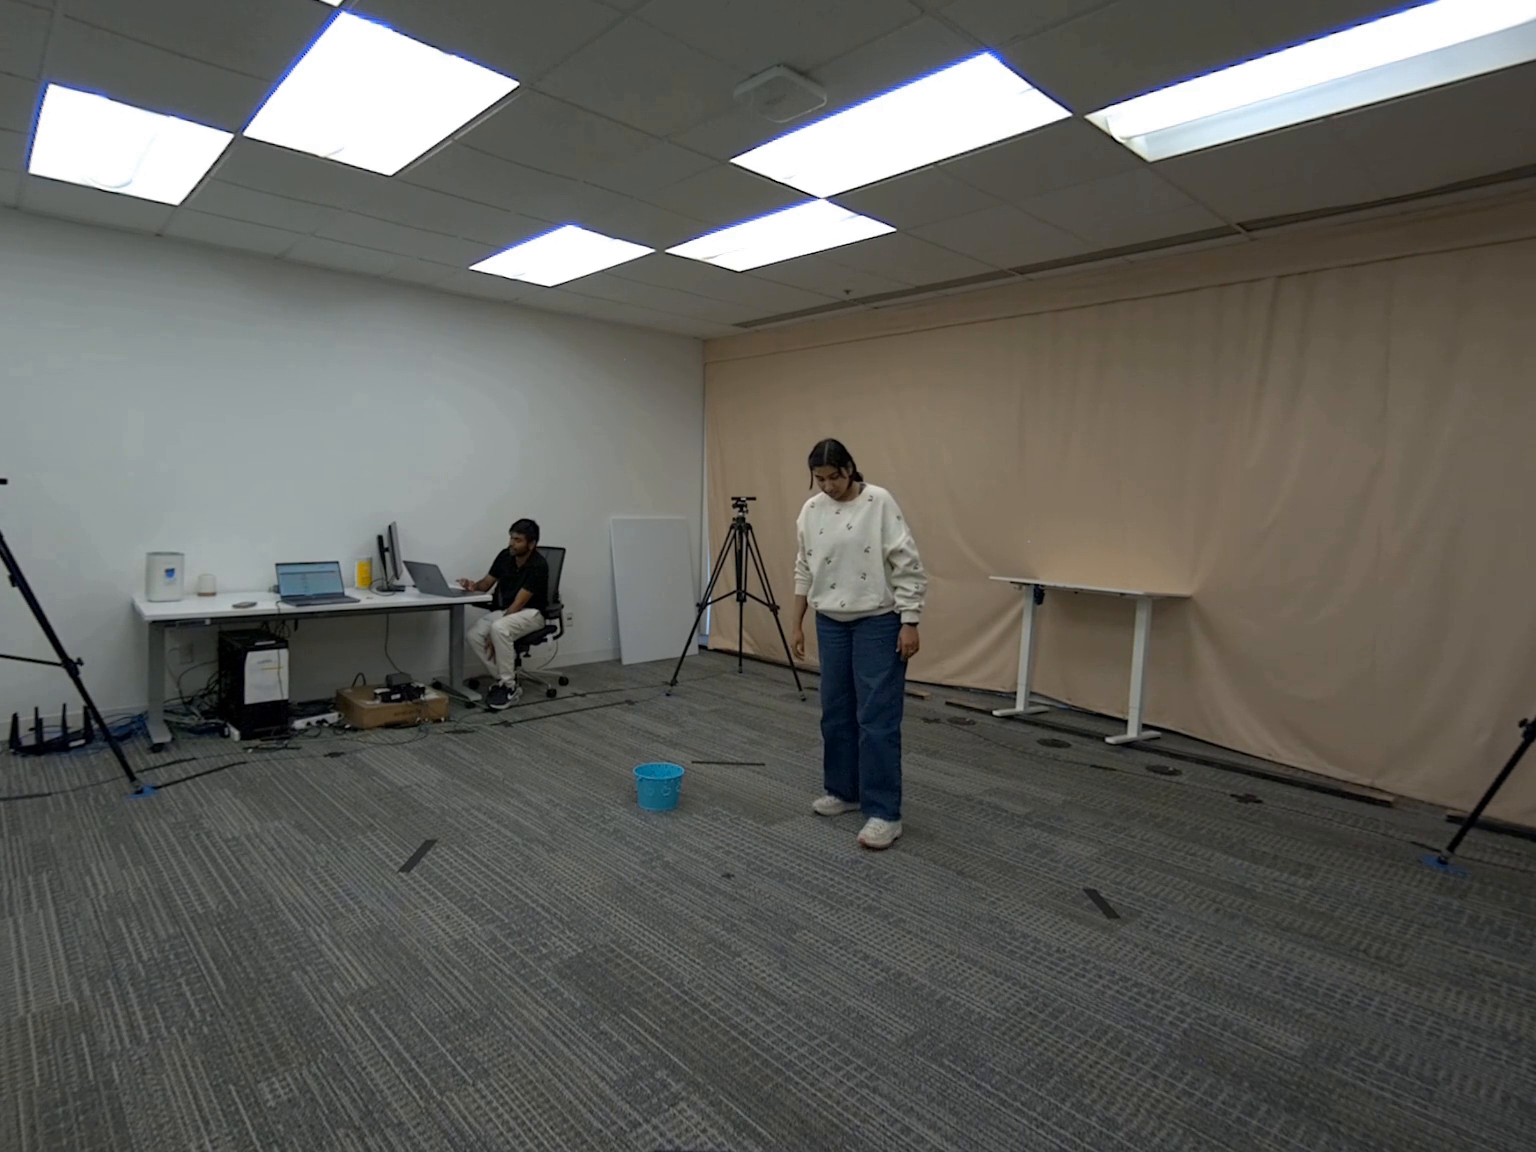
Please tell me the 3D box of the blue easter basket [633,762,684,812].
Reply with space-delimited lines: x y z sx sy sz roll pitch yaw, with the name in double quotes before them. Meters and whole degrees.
"blue easter basket" -0.506 0.950 3.836 0.243 0.155 0.244 2 4 -1
